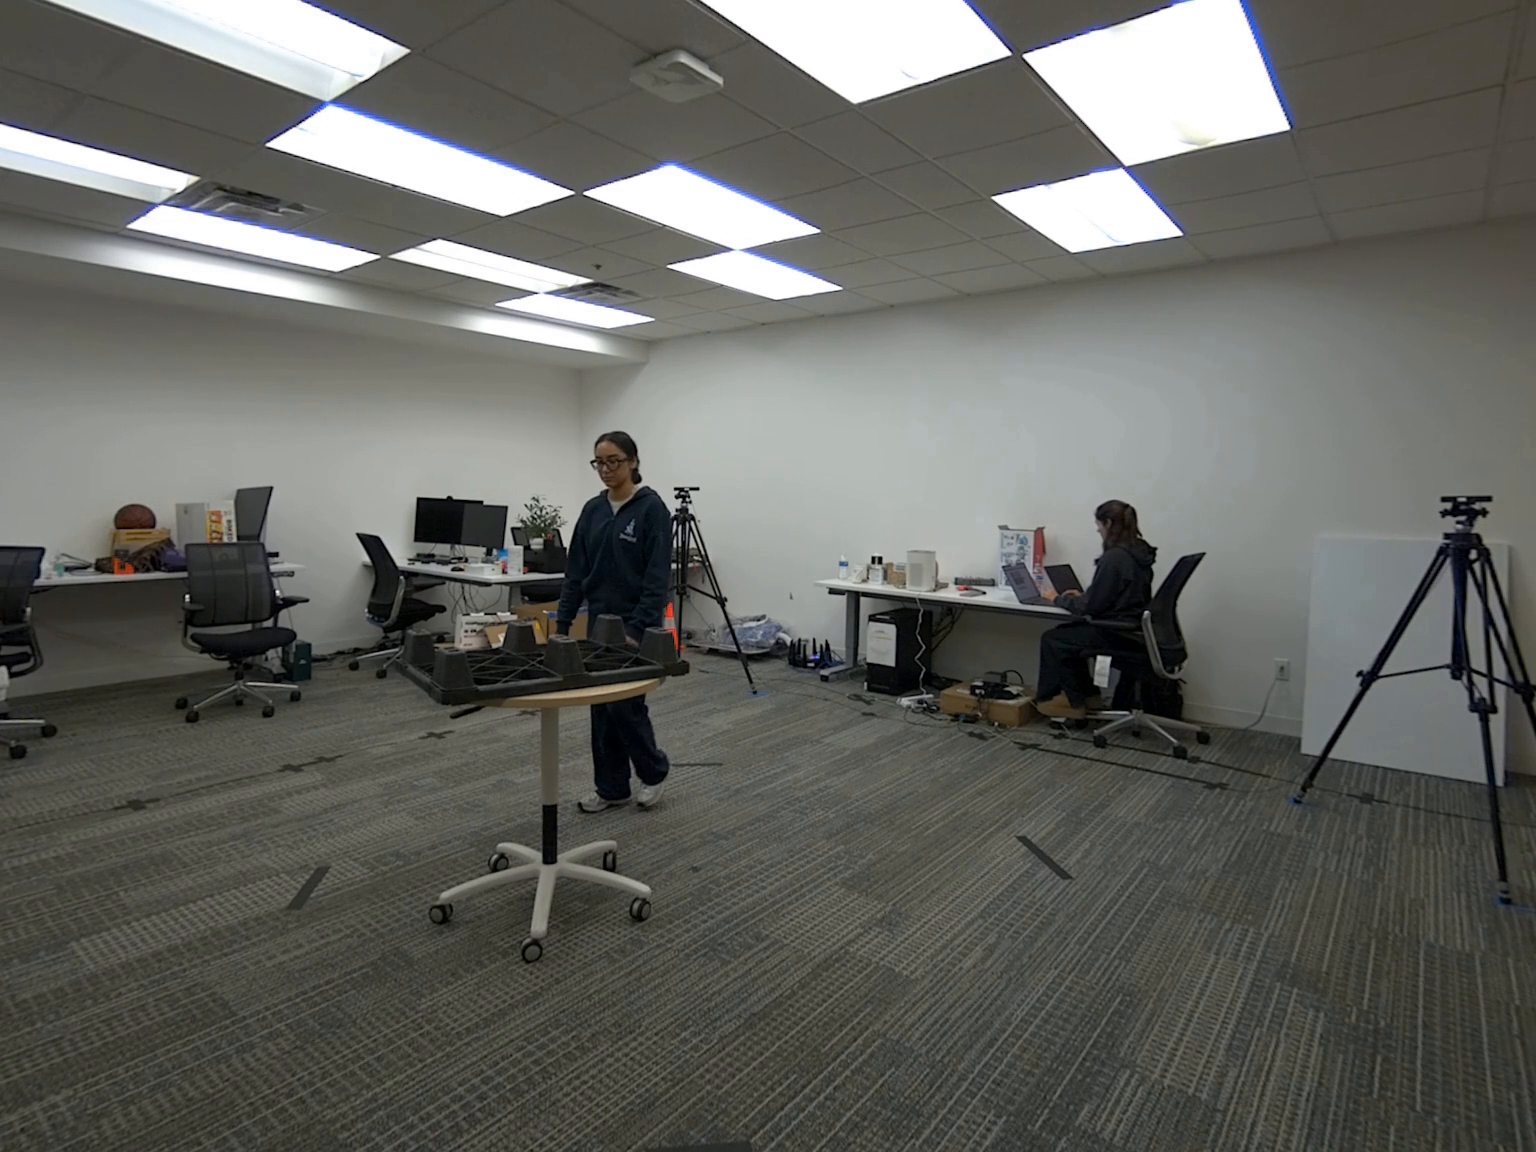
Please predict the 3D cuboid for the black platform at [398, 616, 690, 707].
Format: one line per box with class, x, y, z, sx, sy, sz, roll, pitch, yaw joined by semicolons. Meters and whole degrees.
black platform;-0.753;0.246;2.774;0.783;0.143;0.625;-4;6;-35
